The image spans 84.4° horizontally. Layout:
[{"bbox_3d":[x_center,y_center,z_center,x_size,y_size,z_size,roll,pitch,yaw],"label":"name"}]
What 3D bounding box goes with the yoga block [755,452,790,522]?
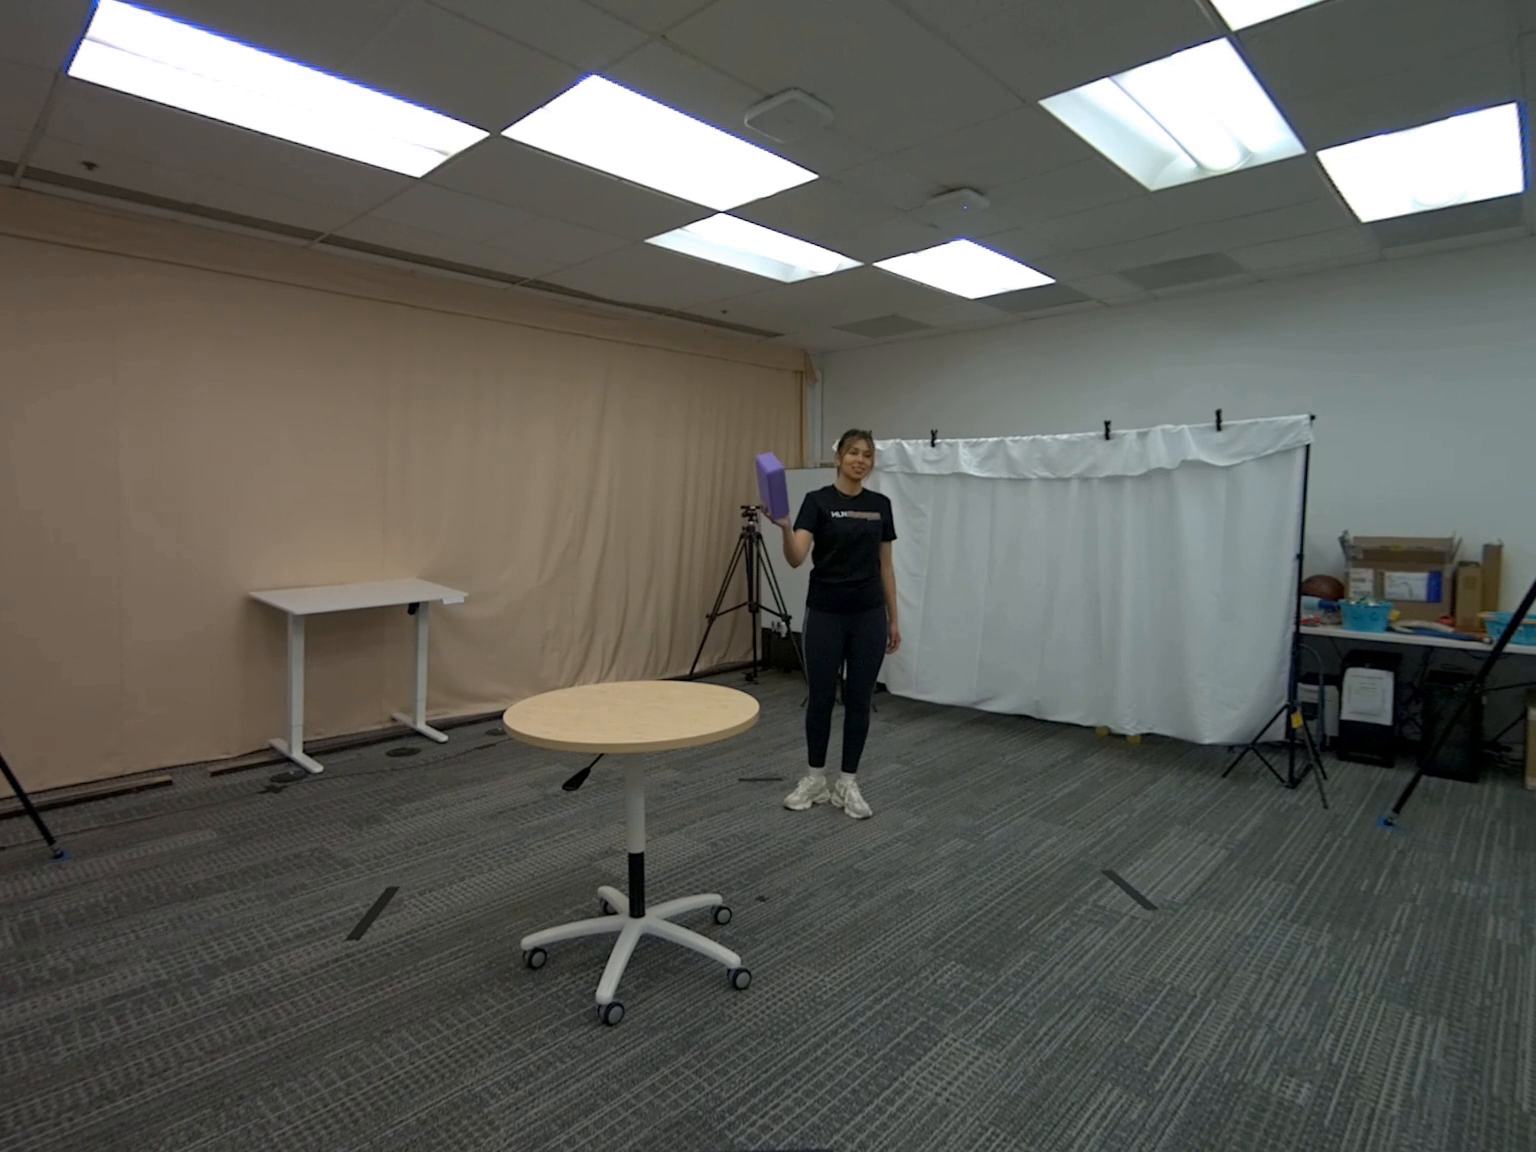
[{"bbox_3d":[0.020,-0.360,3.358,0.076,0.224,0.153,-14,38,-9],"label":"yoga block"}]
